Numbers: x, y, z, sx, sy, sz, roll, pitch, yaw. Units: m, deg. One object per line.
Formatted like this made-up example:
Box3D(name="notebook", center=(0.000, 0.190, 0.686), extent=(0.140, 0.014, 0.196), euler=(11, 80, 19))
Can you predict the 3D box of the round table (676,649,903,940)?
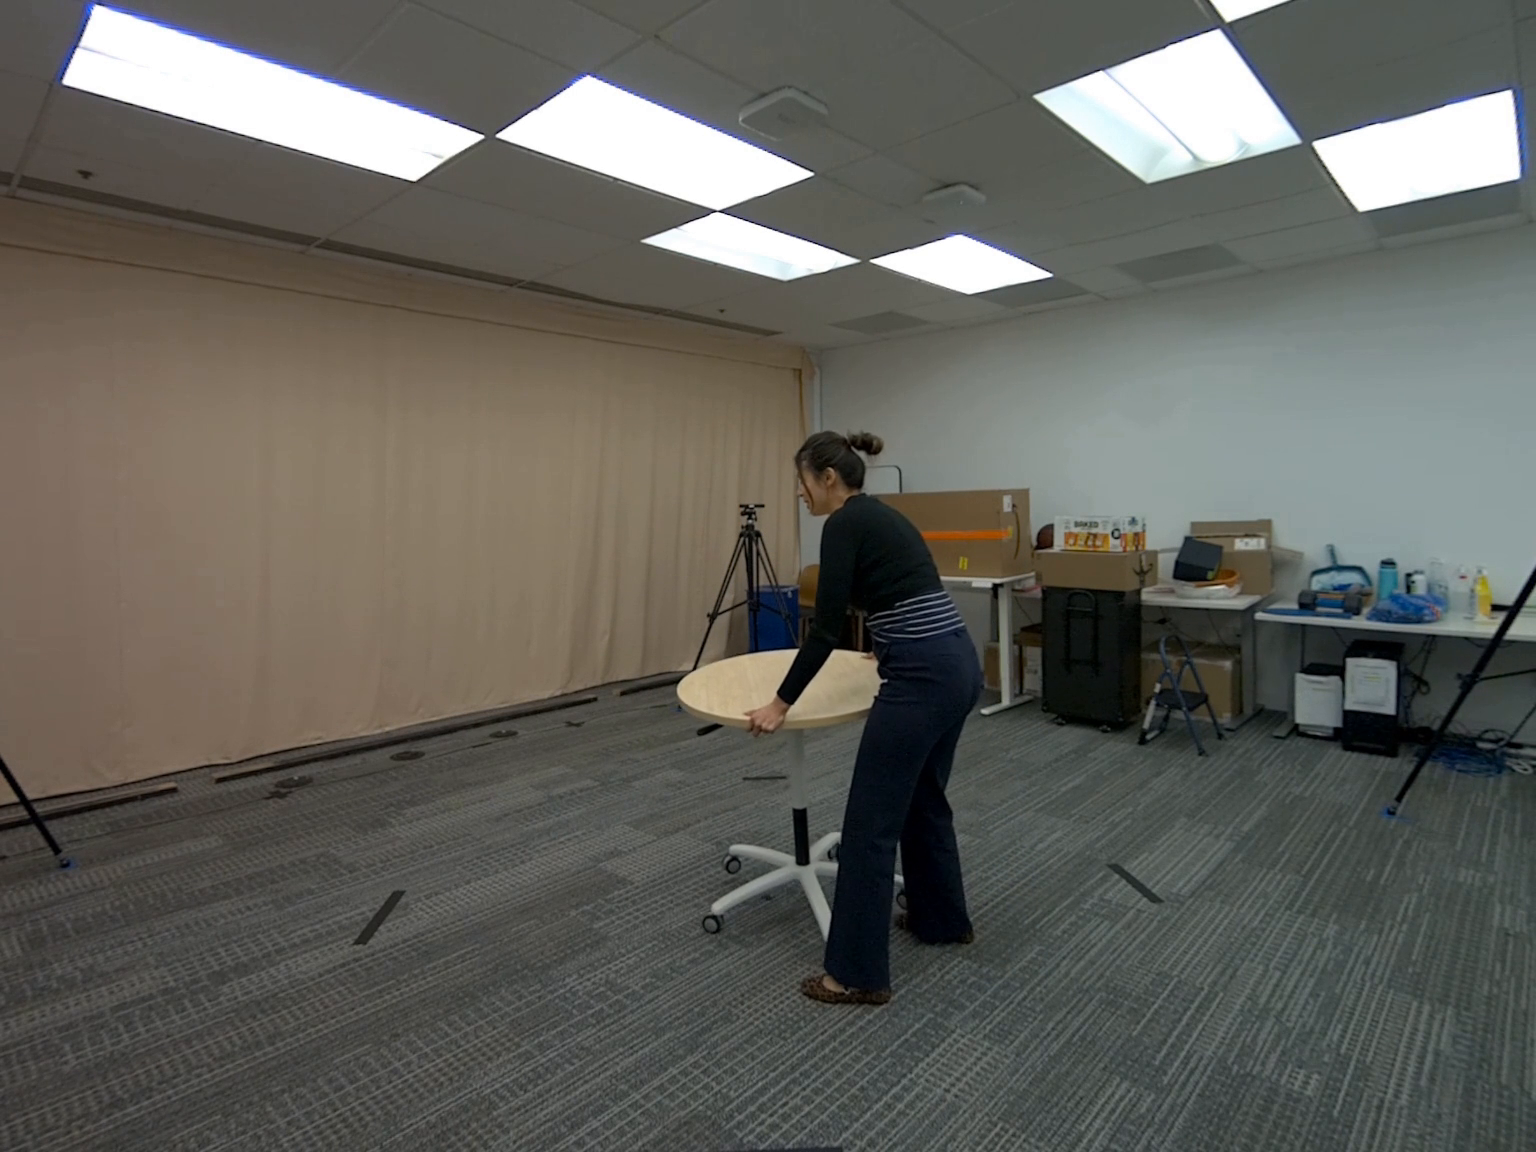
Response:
Box3D(name="round table", center=(0.109, 0.735, 2.844), extent=(0.764, 0.789, 0.769), euler=(-4, 9, -1))
